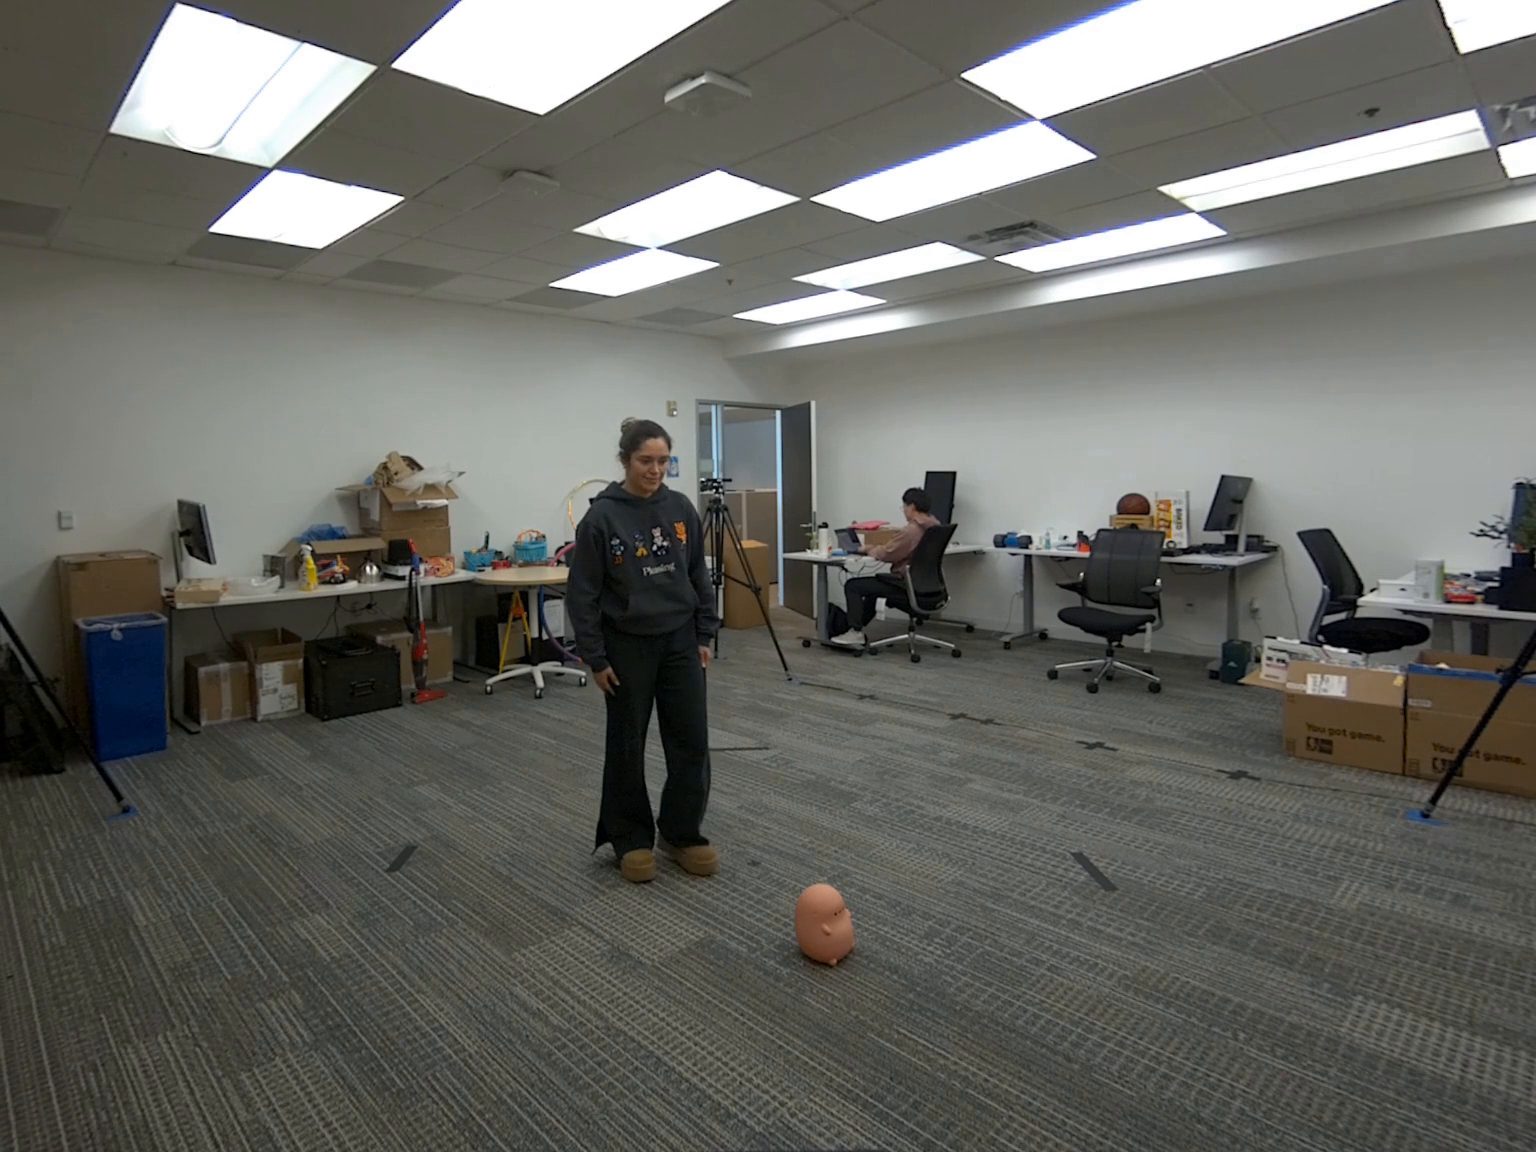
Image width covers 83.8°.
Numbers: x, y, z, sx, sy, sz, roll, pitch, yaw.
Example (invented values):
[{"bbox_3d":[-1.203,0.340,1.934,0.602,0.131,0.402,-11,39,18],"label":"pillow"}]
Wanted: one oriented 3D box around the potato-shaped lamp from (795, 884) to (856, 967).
[{"bbox_3d":[0.168,1.010,2.502,0.176,0.197,0.161,3,5,30],"label":"potato-shaped lamp"}]
